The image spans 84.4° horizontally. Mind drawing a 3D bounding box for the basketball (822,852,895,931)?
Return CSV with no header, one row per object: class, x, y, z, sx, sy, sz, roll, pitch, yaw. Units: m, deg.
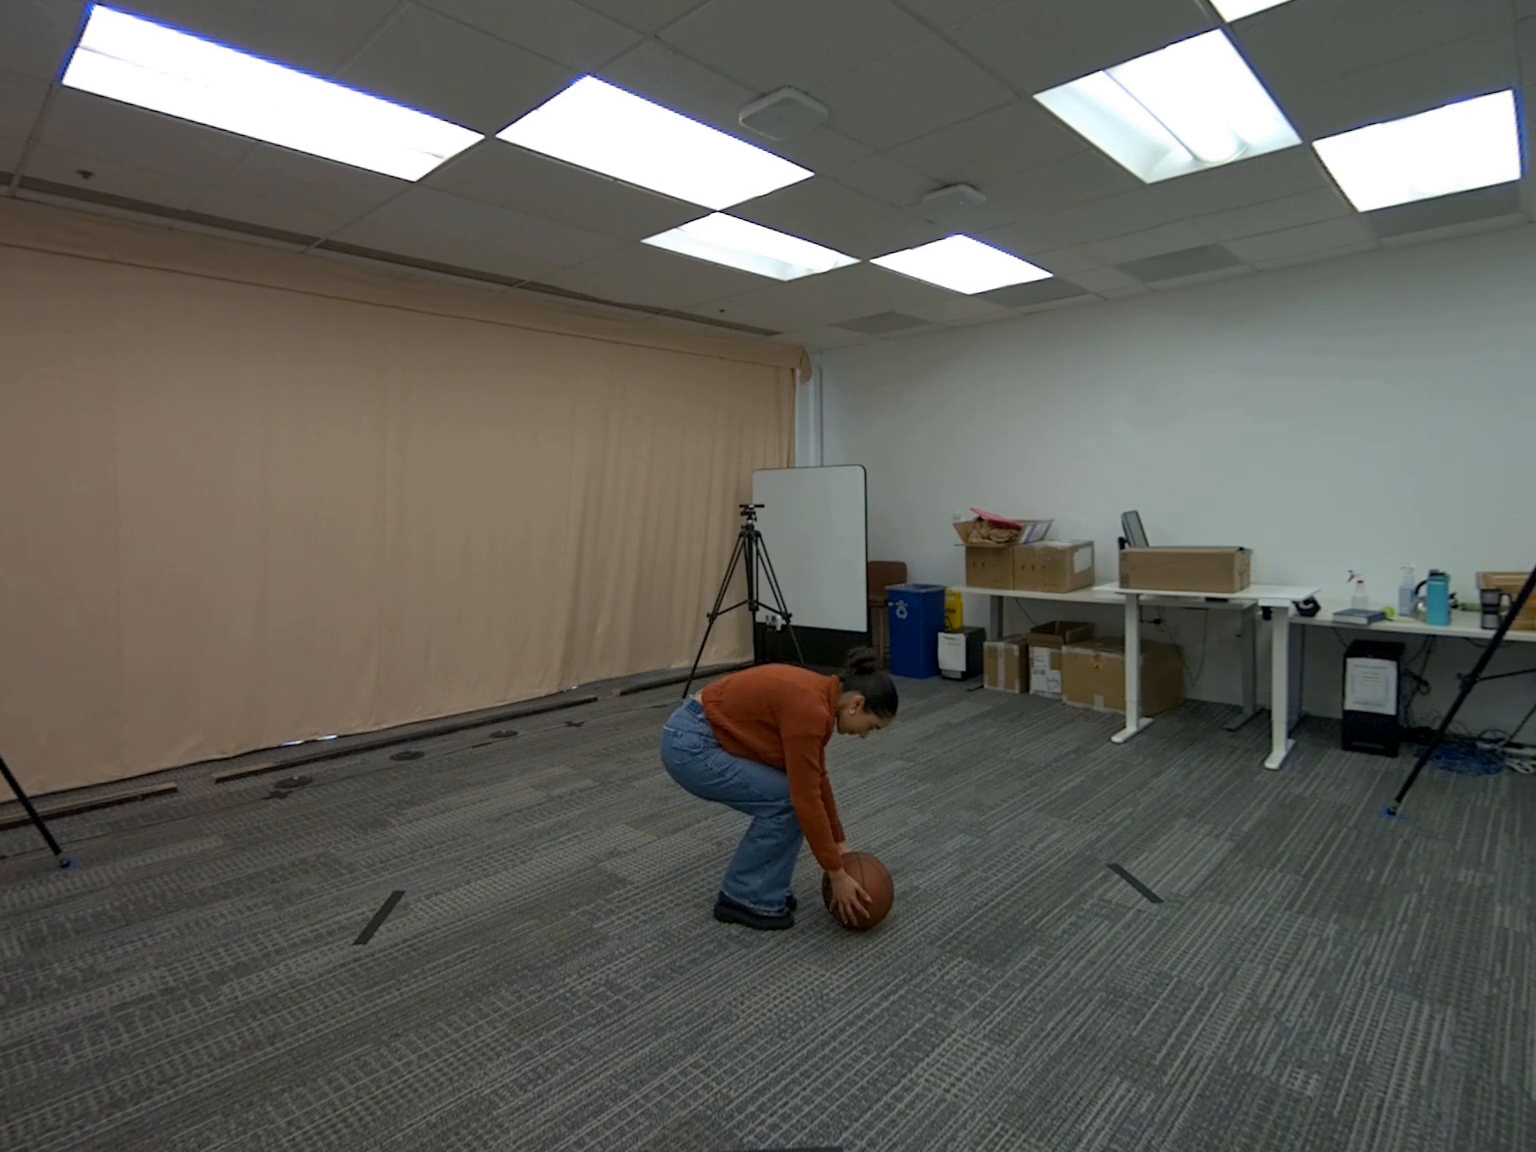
basketball,0.299,1.022,2.768,0.236,0.235,0.237,-1,4,-2
